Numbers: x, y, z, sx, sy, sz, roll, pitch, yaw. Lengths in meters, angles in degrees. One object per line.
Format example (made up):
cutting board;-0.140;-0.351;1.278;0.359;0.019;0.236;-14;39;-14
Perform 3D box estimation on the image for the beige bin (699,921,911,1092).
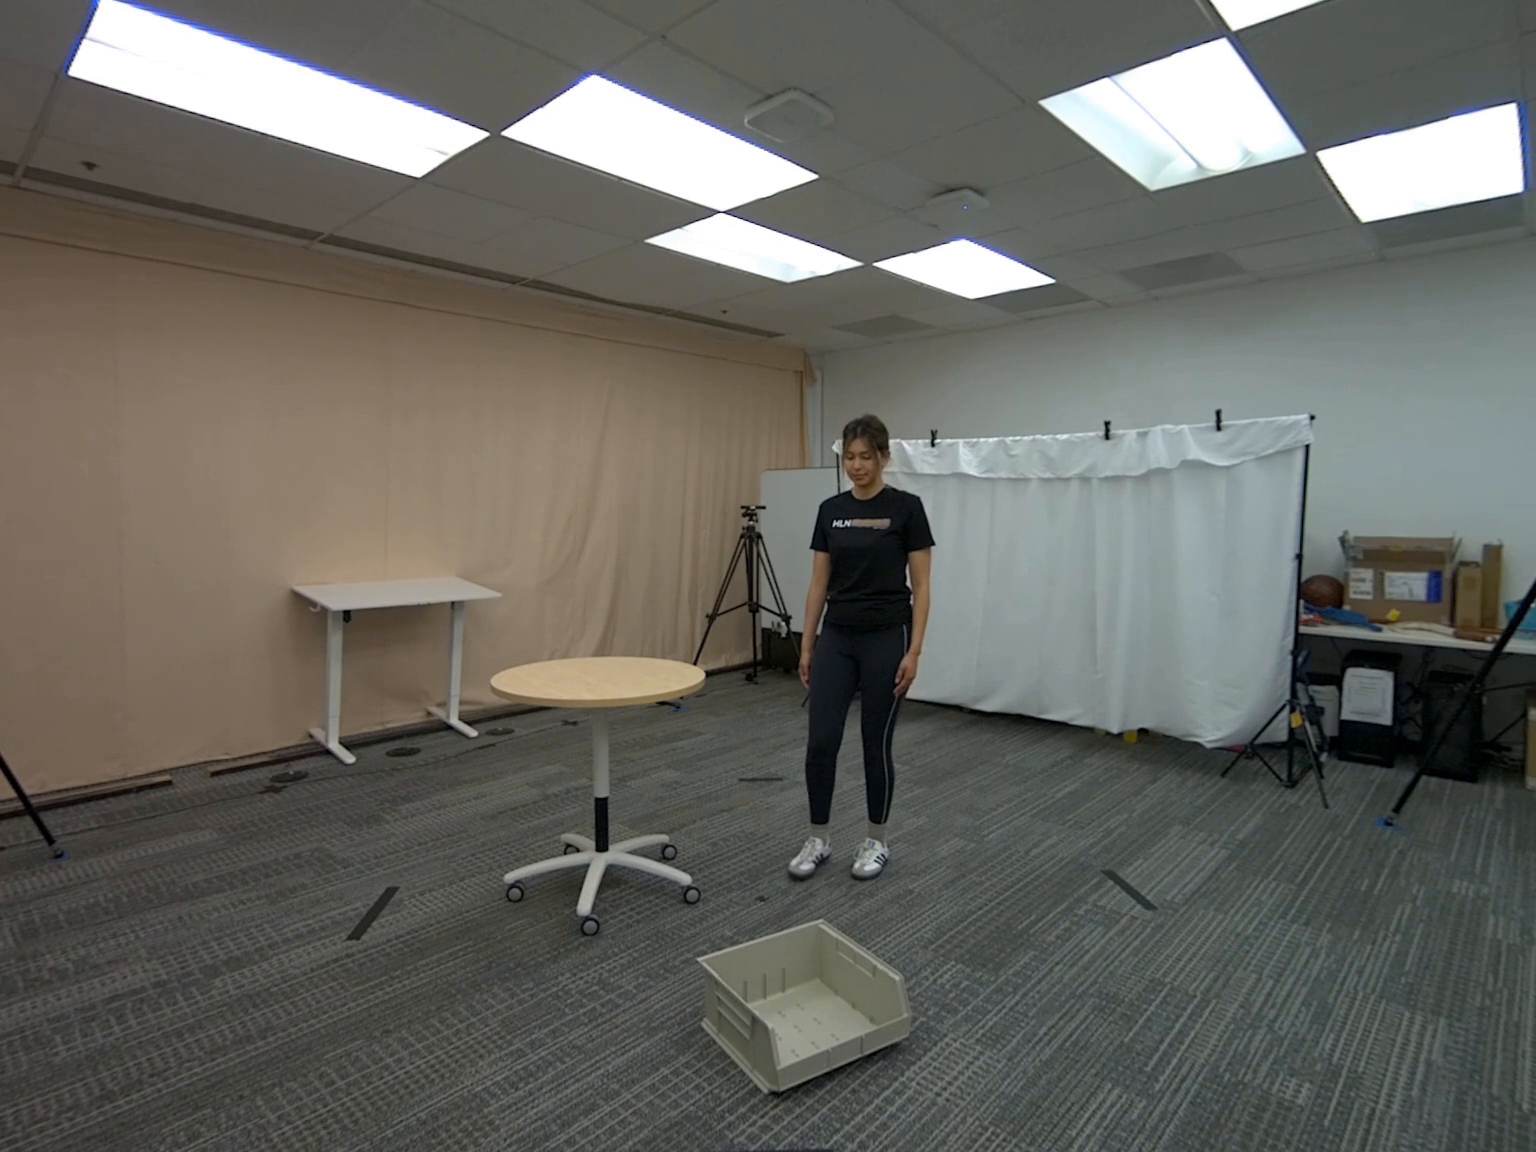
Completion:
beige bin;0.089;1.124;2.201;0.411;0.188;0.389;-3;5;-32
